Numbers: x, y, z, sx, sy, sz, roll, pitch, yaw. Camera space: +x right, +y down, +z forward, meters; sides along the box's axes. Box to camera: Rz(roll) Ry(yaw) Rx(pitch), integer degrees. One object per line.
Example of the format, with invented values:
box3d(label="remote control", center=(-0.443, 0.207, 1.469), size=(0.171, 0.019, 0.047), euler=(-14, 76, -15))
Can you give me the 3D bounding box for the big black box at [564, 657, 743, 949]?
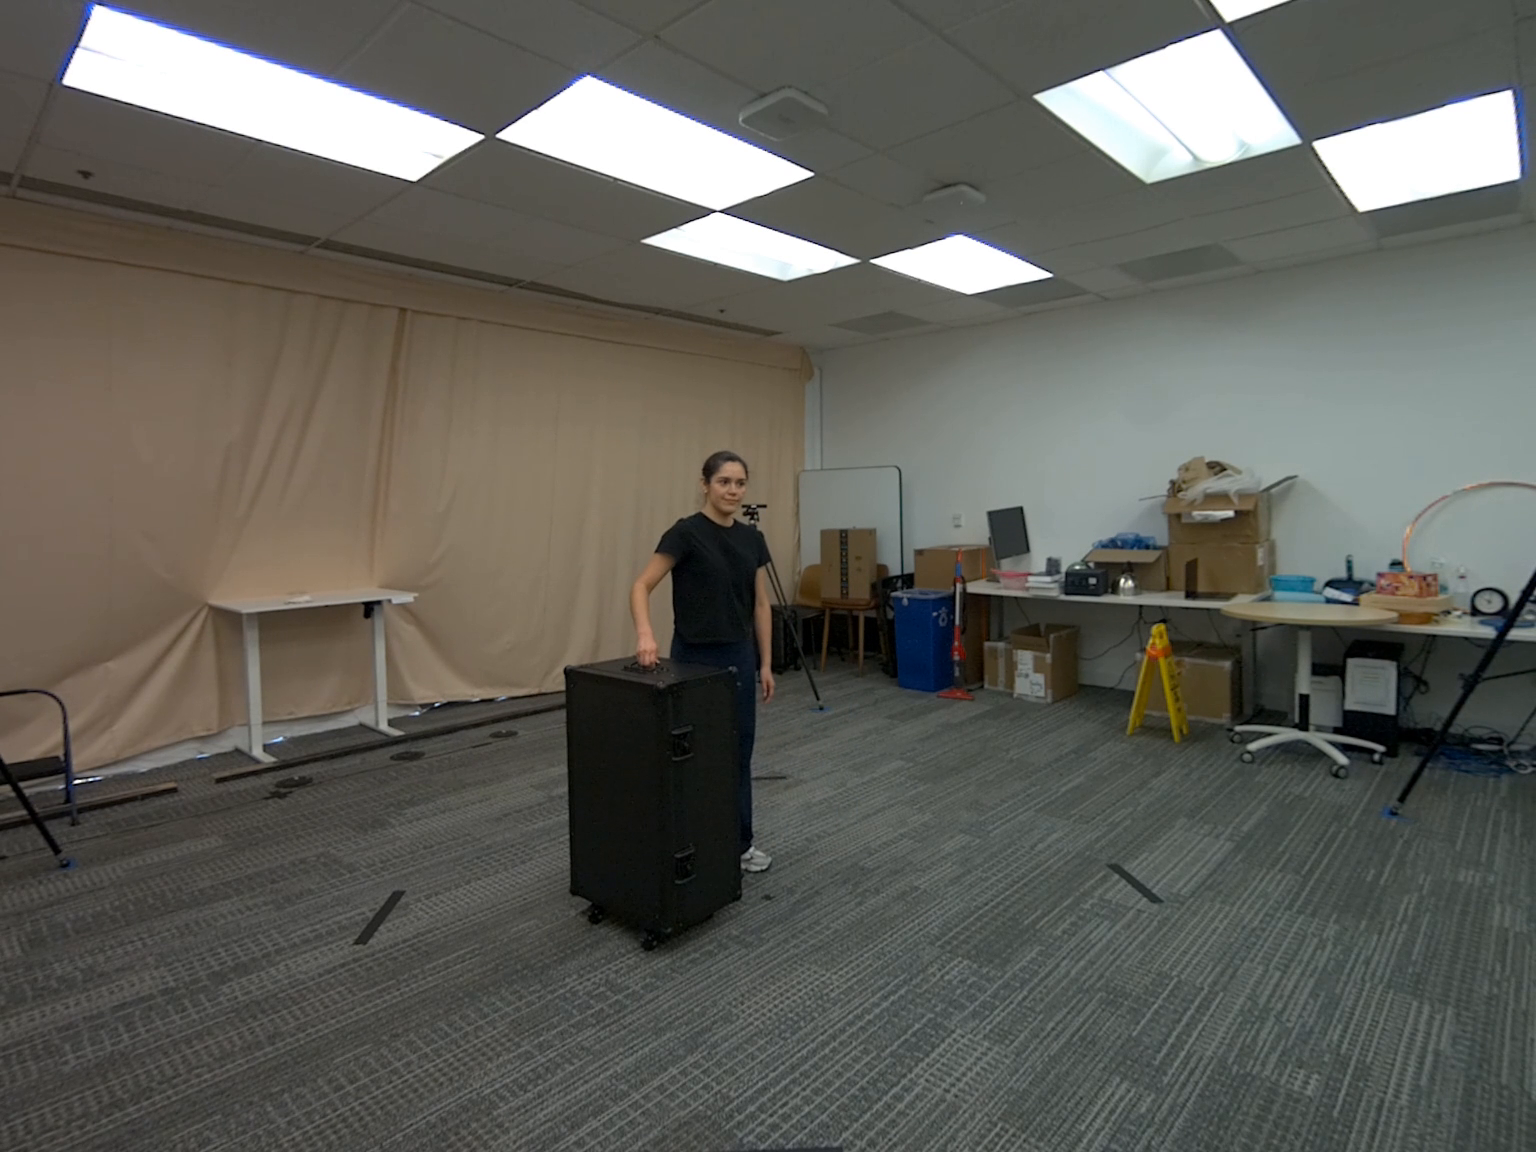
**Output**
box3d(label="big black box", center=(-0.377, 0.735, 2.860), size=(0.538, 0.860, 0.384), euler=(1, 3, 41))
